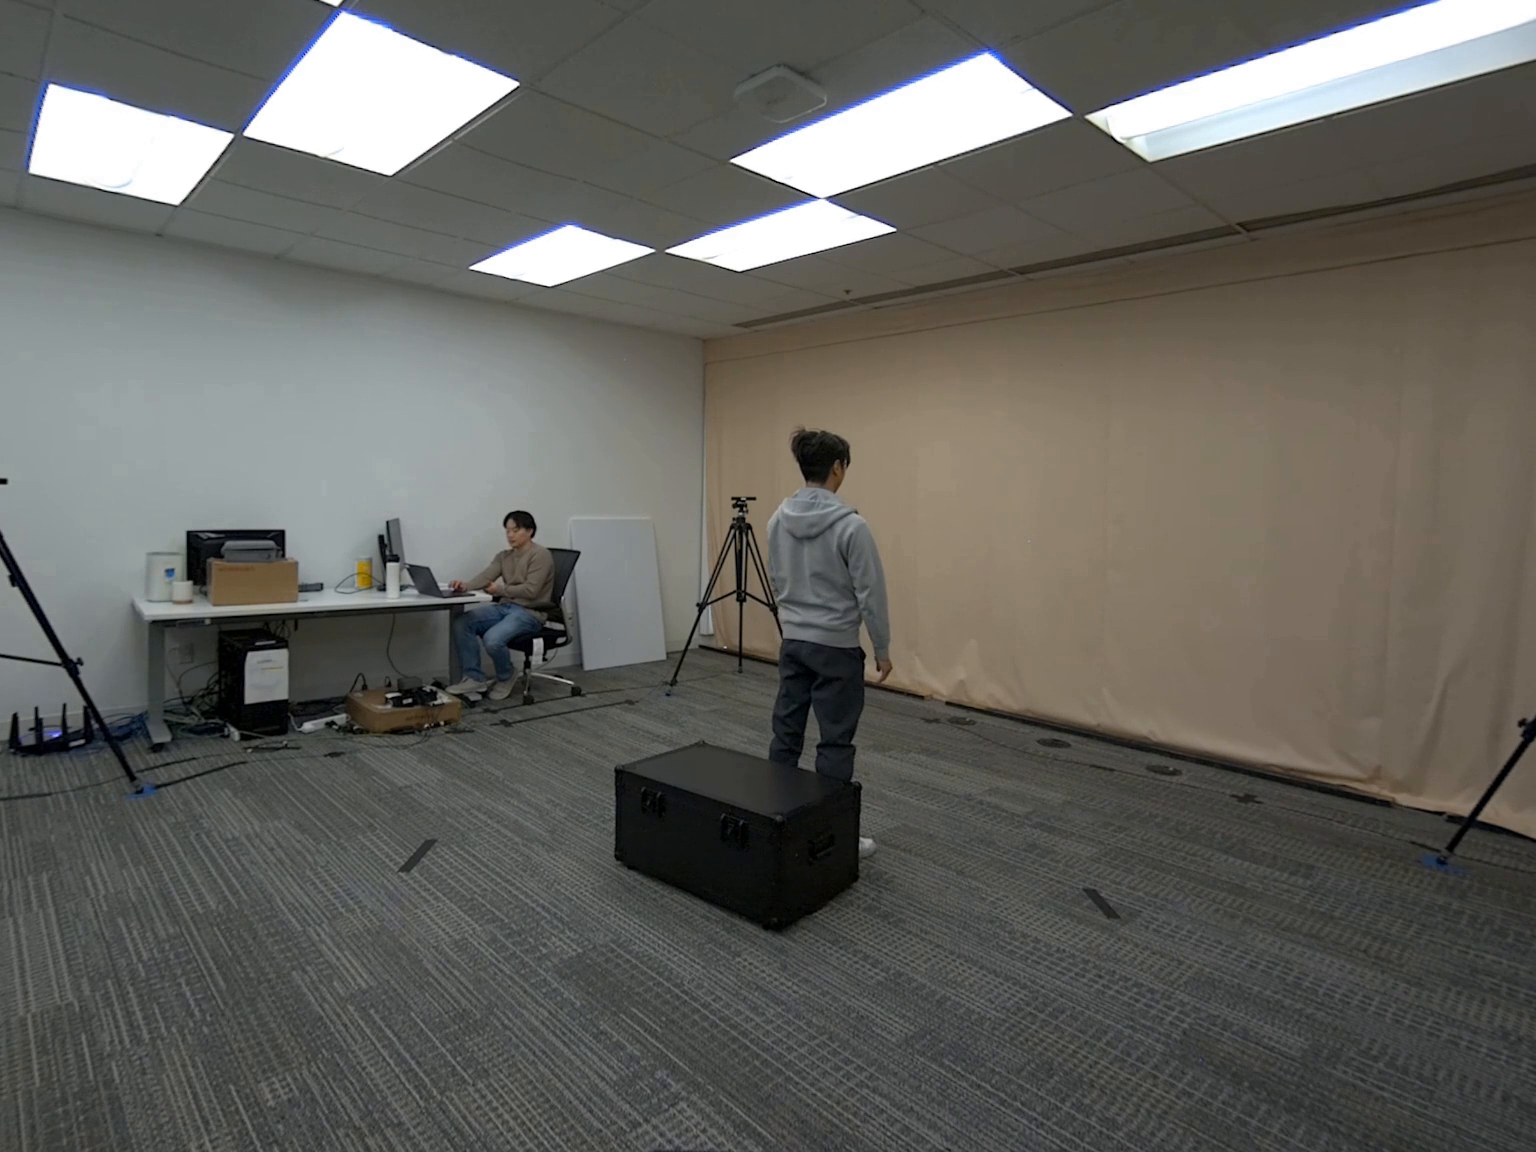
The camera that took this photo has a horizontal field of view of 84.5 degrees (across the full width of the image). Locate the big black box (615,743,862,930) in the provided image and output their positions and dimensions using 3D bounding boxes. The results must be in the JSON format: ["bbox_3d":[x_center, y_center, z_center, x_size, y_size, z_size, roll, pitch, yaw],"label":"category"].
[{"bbox_3d":[-0.111,0.923,3.069,0.883,0.395,0.510,5,6,40],"label":"big black box"}]
